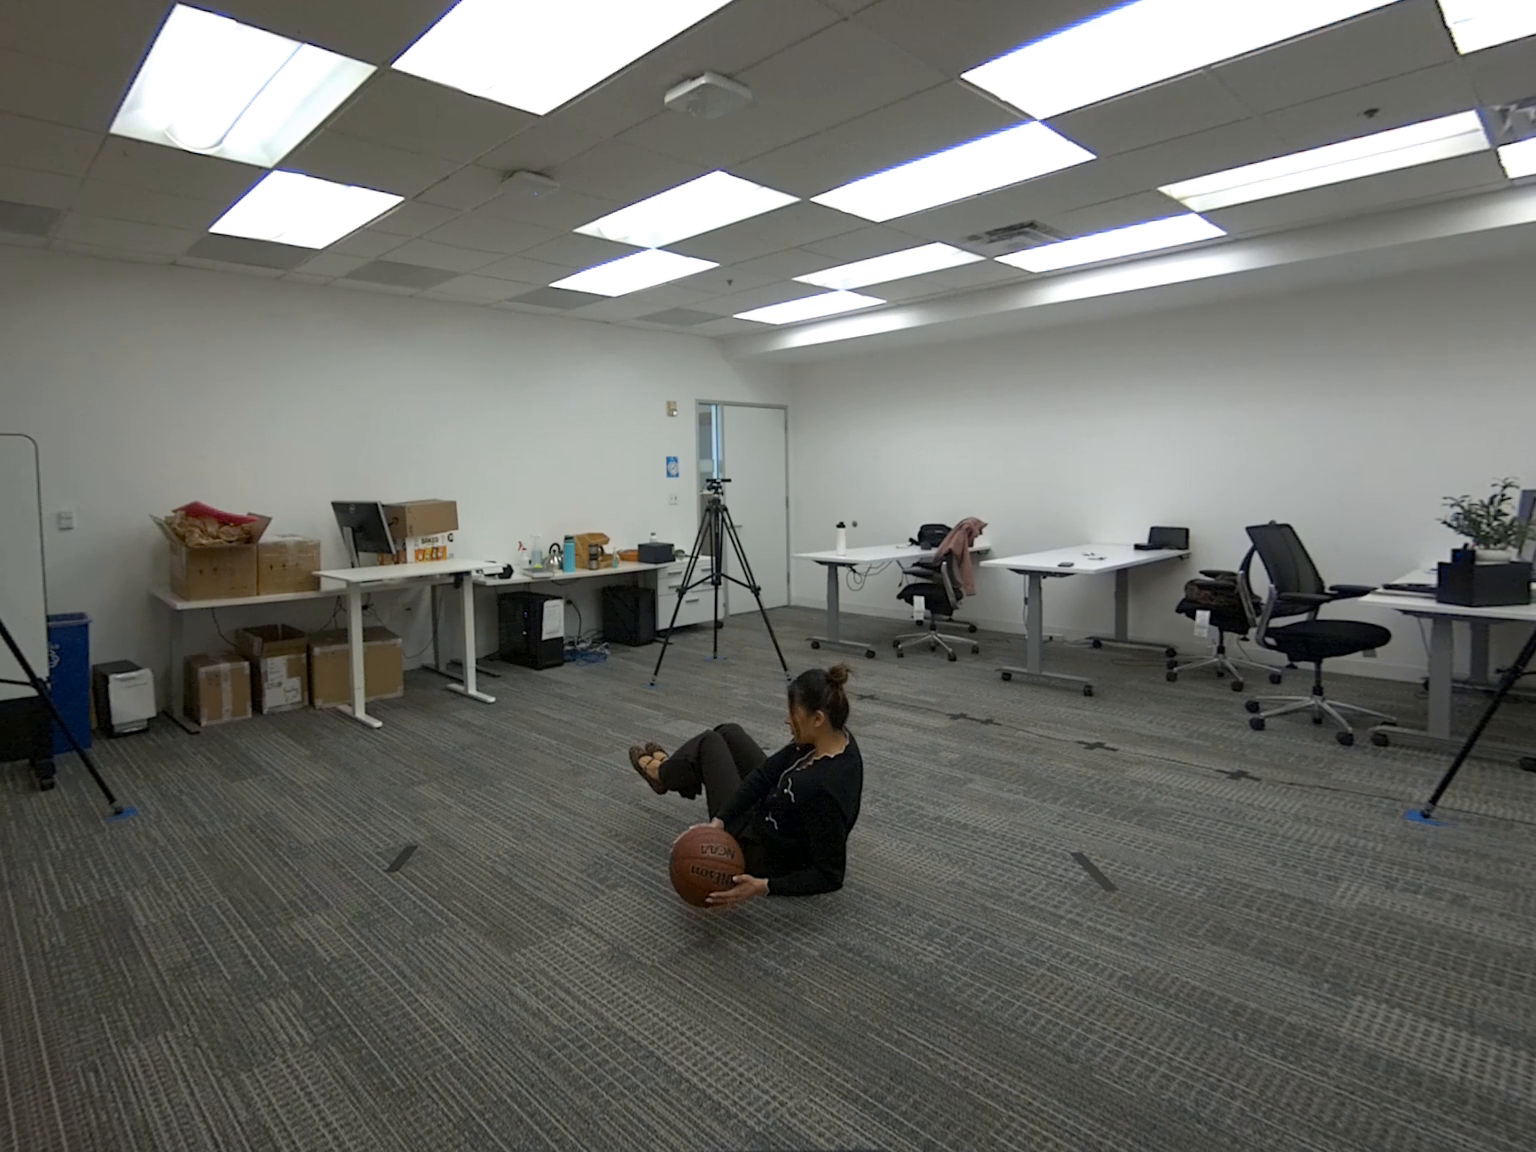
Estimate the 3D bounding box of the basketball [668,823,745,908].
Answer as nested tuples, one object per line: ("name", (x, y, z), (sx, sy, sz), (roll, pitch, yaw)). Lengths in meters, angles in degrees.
("basketball", (-0.190, 0.896, 2.654), (0.236, 0.235, 0.237), (-1, 5, -2))
